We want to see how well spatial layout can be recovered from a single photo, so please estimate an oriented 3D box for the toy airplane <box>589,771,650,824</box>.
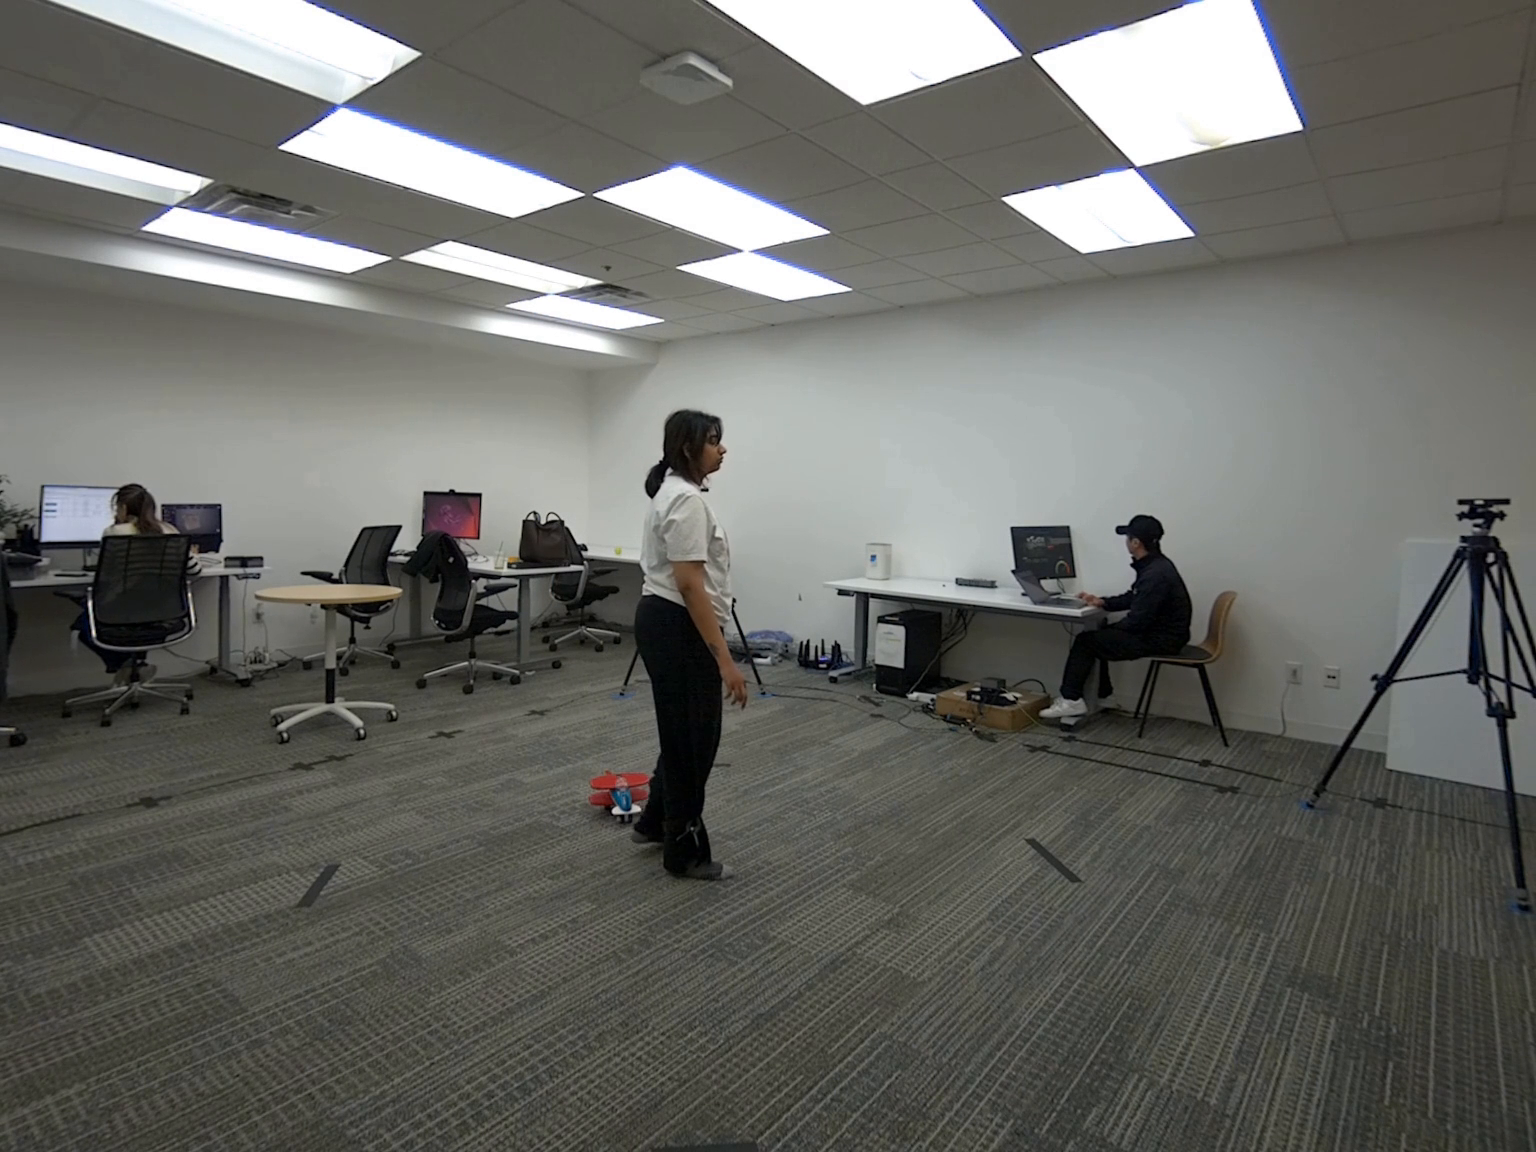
[{"bbox_3d":[-0.626,0.939,3.631,0.268,0.156,0.243,5,6,41],"label":"toy airplane"}]
